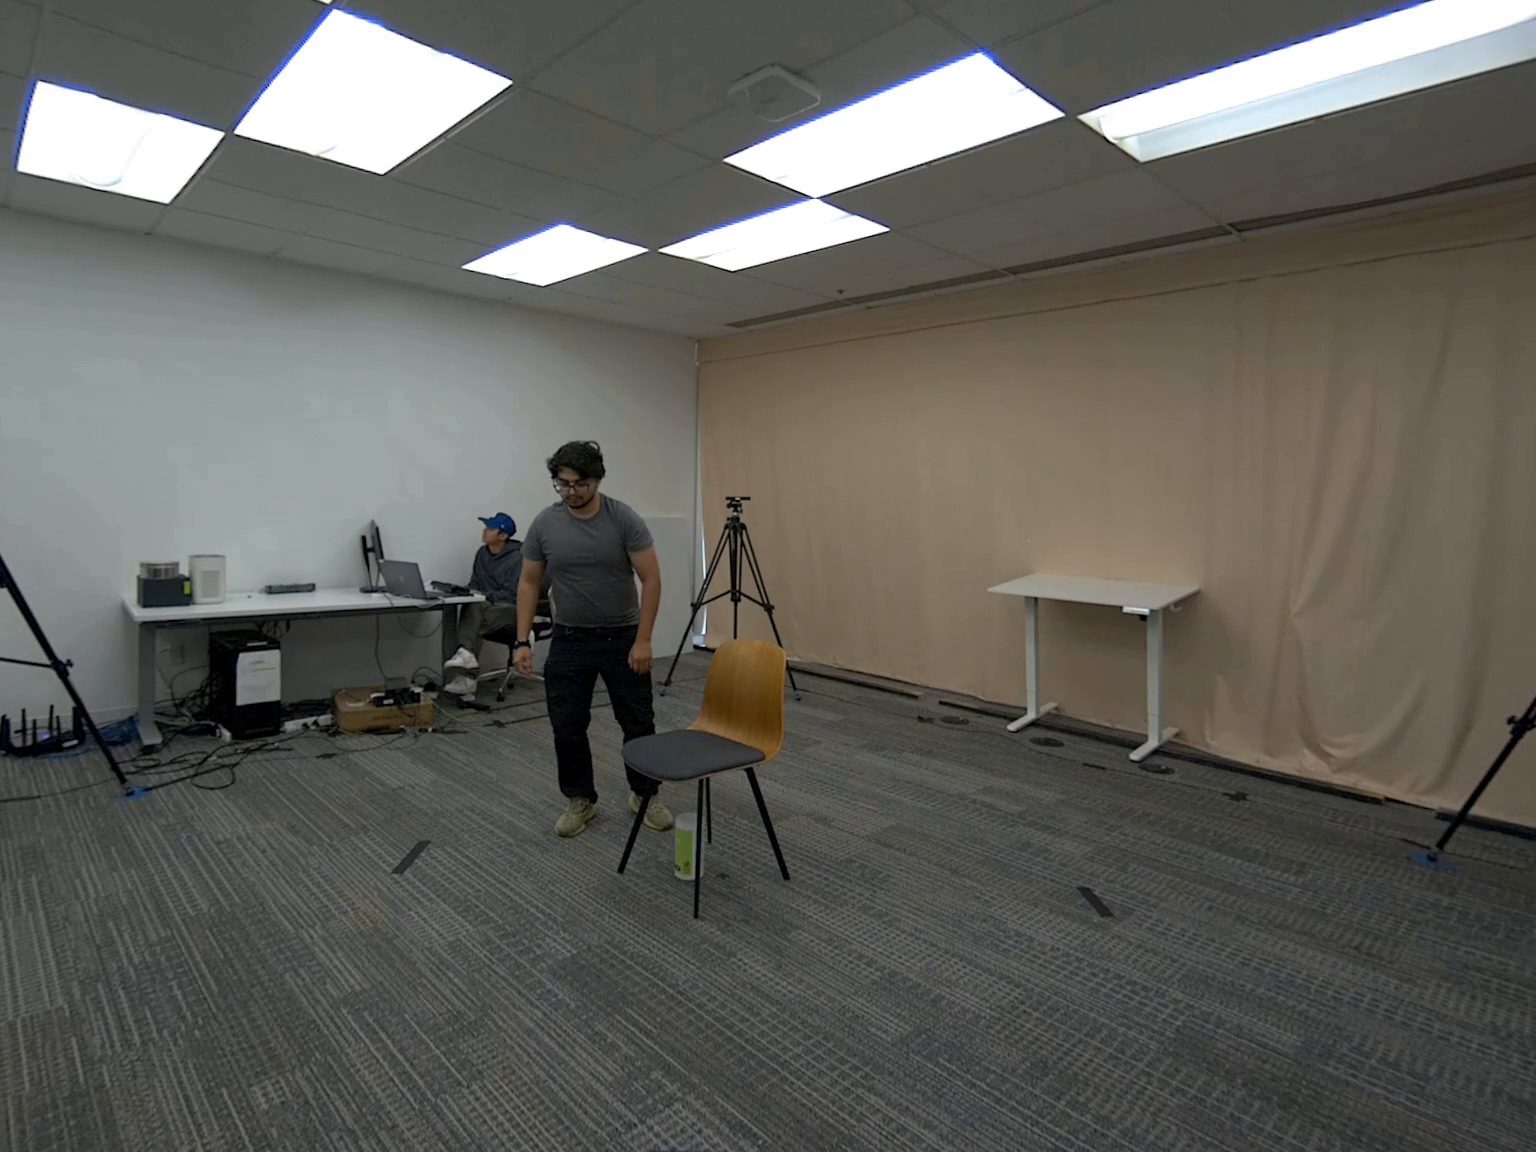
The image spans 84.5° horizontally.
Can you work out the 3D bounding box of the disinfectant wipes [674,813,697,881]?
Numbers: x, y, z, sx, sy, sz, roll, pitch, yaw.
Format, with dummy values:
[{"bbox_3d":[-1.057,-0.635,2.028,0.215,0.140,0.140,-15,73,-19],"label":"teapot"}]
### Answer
[{"bbox_3d":[-0.301,1.006,3.101,0.118,0.217,0.118,0,3,-1],"label":"disinfectant wipes"}]
